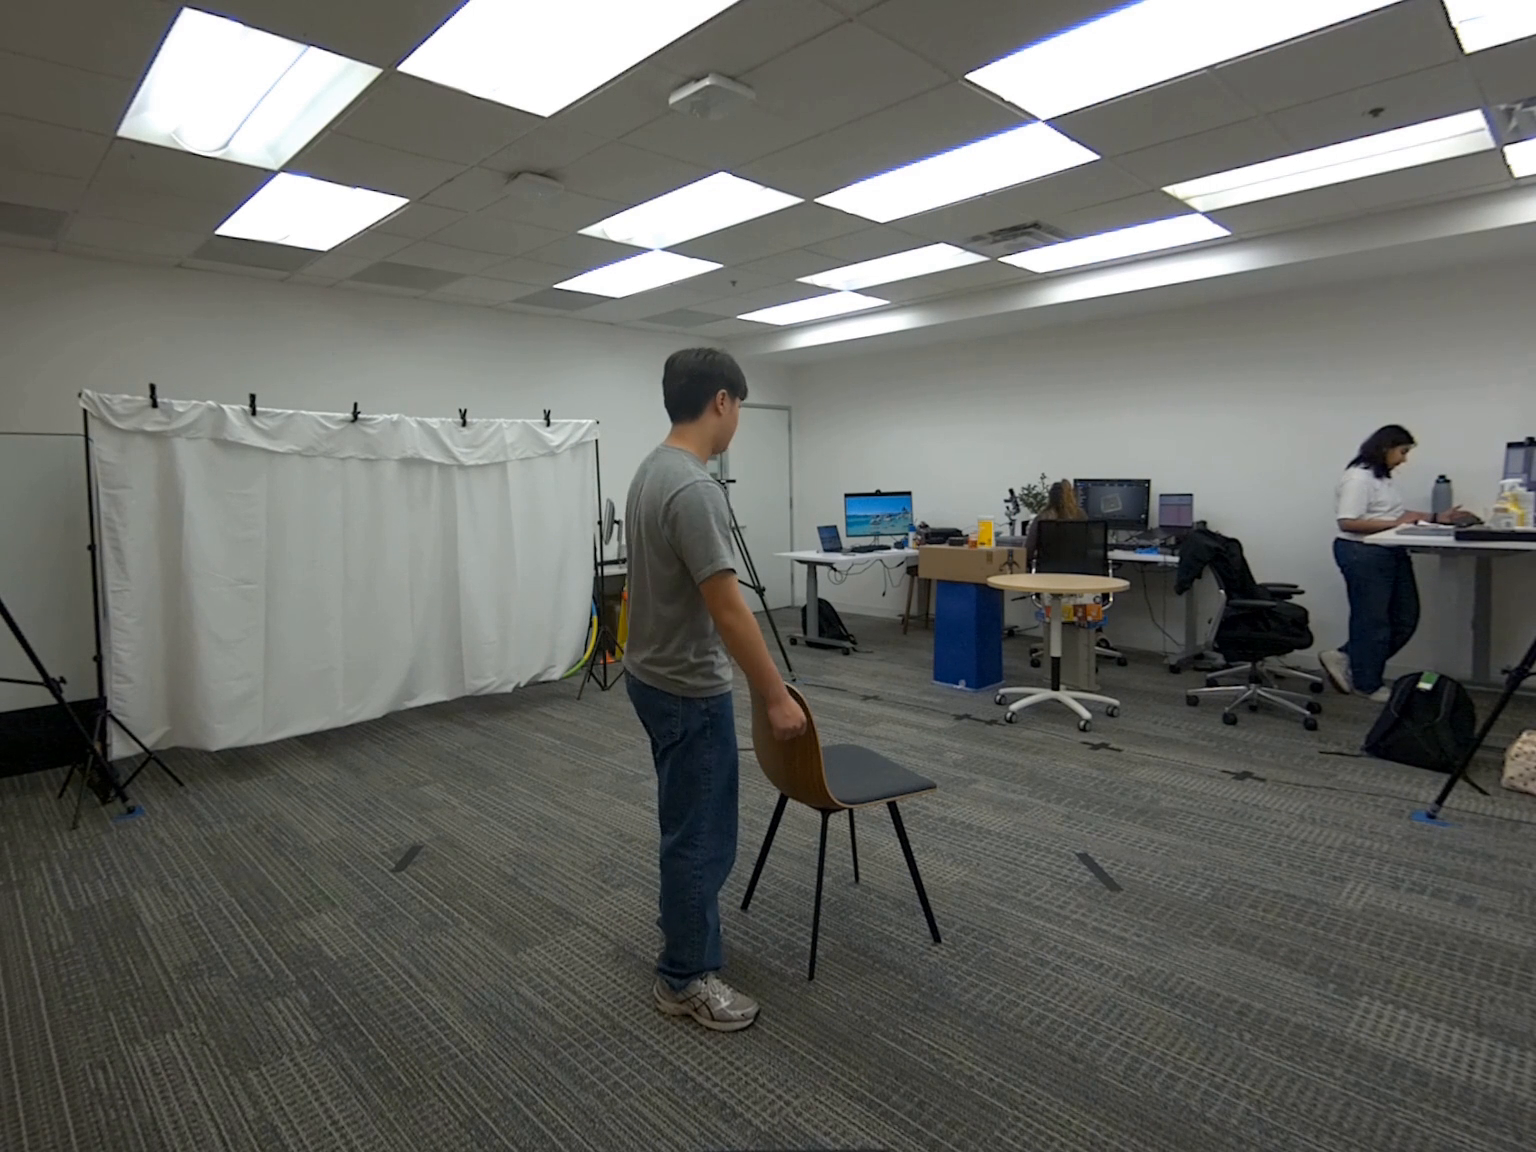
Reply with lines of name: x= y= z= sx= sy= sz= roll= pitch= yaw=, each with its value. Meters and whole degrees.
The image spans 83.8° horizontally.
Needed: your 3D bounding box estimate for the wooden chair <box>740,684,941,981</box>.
wooden chair: x=0.217 y=0.667 z=2.644 sx=0.513 sy=0.872 sz=0.490 roll=-8 pitch=7 yaw=-25
